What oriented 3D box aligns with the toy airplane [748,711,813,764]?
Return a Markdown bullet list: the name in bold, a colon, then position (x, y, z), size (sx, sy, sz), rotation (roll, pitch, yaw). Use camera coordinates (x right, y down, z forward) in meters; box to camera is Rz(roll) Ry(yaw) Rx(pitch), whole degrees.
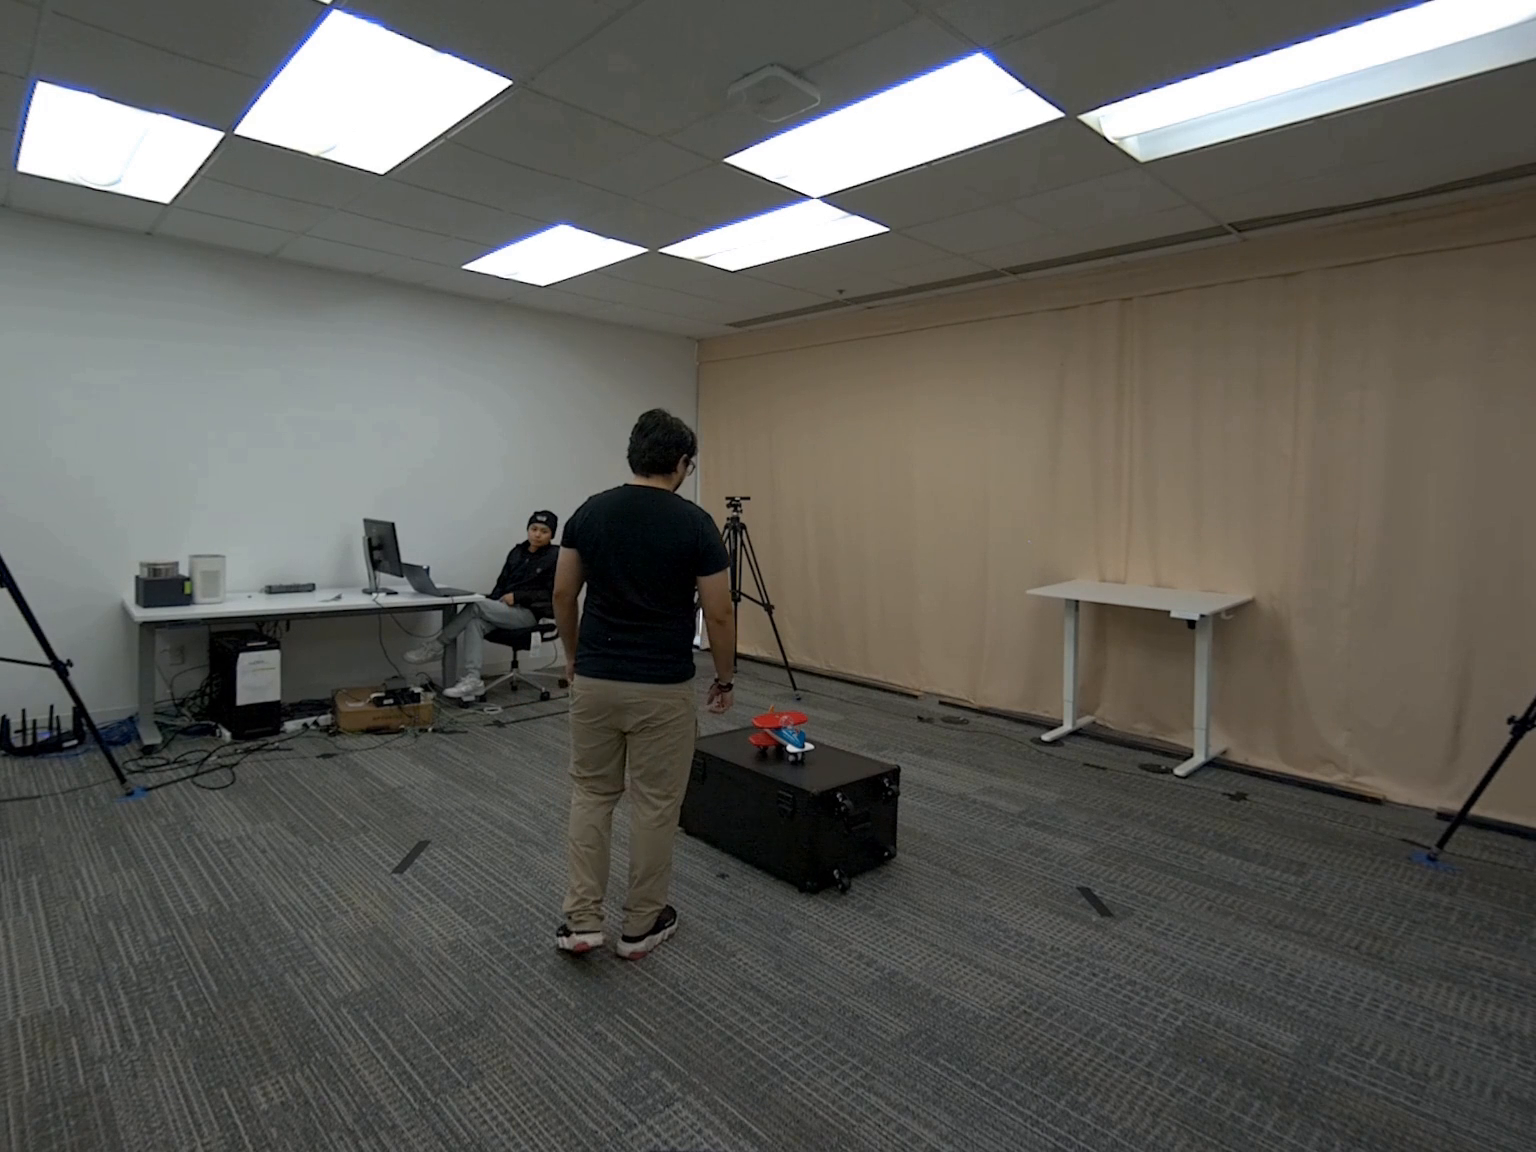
- **toy airplane**: position (0.067, 0.636, 3.362), size (0.264, 0.156, 0.246), rotation (2, 4, 27)
